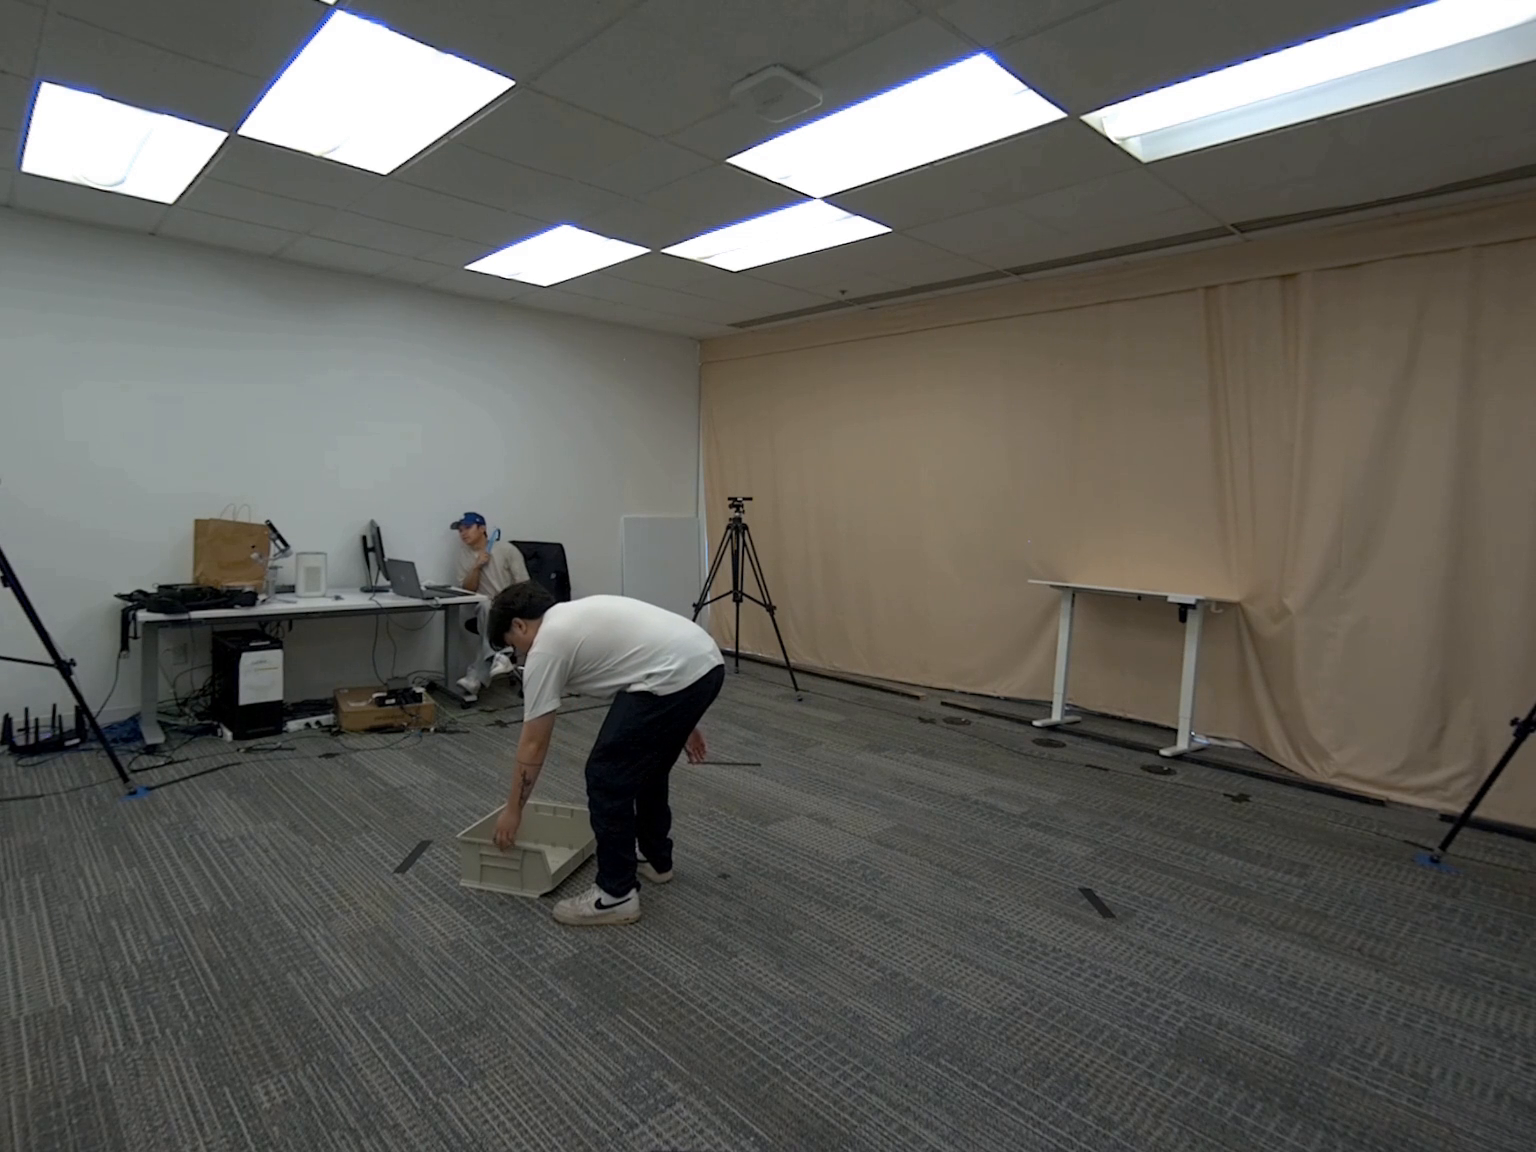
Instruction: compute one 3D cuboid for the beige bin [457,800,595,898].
[{"bbox_3d":[-0.880,1.001,3.125,0.382,0.188,0.419,2,5,14],"label":"beige bin"}]
